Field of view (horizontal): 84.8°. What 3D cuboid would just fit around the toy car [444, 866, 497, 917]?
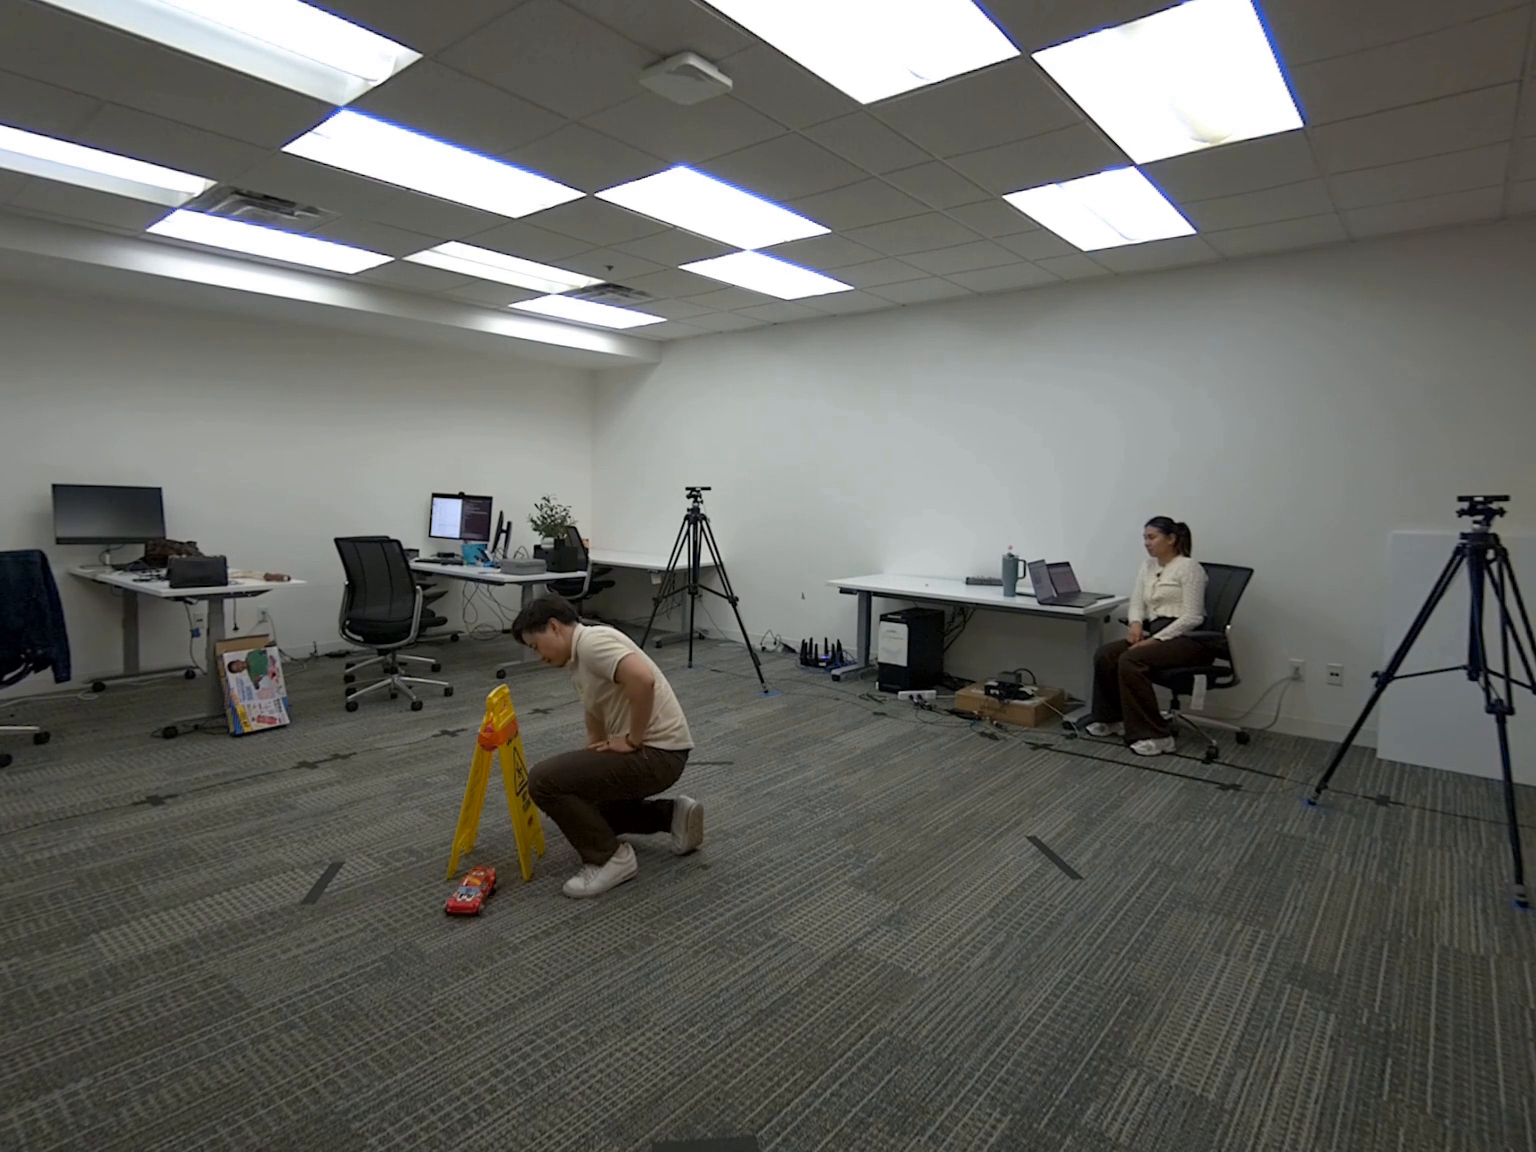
[{"bbox_3d":[-0.997,1.050,2.849,0.130,0.082,0.258,-1,15,-1],"label":"toy car"}]
